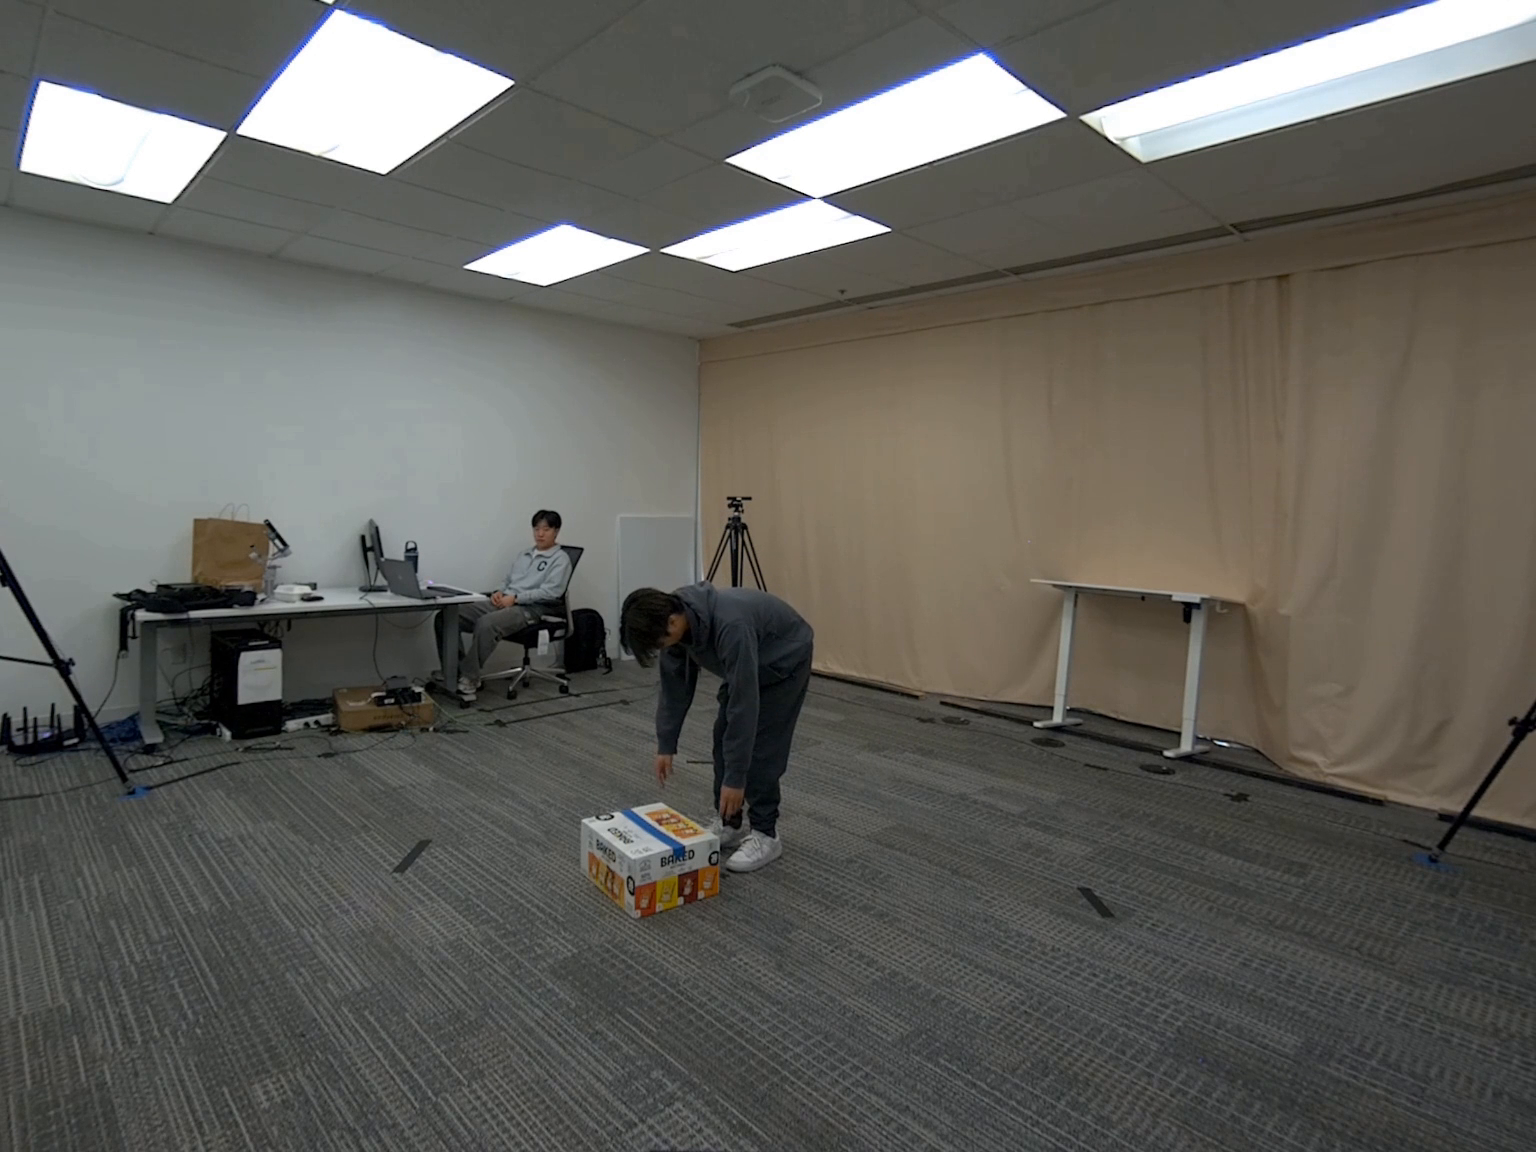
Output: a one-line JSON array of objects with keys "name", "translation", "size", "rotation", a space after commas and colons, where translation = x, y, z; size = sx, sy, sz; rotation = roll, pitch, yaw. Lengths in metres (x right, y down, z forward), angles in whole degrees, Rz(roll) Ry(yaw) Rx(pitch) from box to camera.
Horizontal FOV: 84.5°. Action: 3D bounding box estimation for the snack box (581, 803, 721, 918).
[{"name": "snack box", "translation": [-0.436, 1.008, 3.015], "size": [0.333, 0.205, 0.415], "rotation": [-2, 6, -37]}]
